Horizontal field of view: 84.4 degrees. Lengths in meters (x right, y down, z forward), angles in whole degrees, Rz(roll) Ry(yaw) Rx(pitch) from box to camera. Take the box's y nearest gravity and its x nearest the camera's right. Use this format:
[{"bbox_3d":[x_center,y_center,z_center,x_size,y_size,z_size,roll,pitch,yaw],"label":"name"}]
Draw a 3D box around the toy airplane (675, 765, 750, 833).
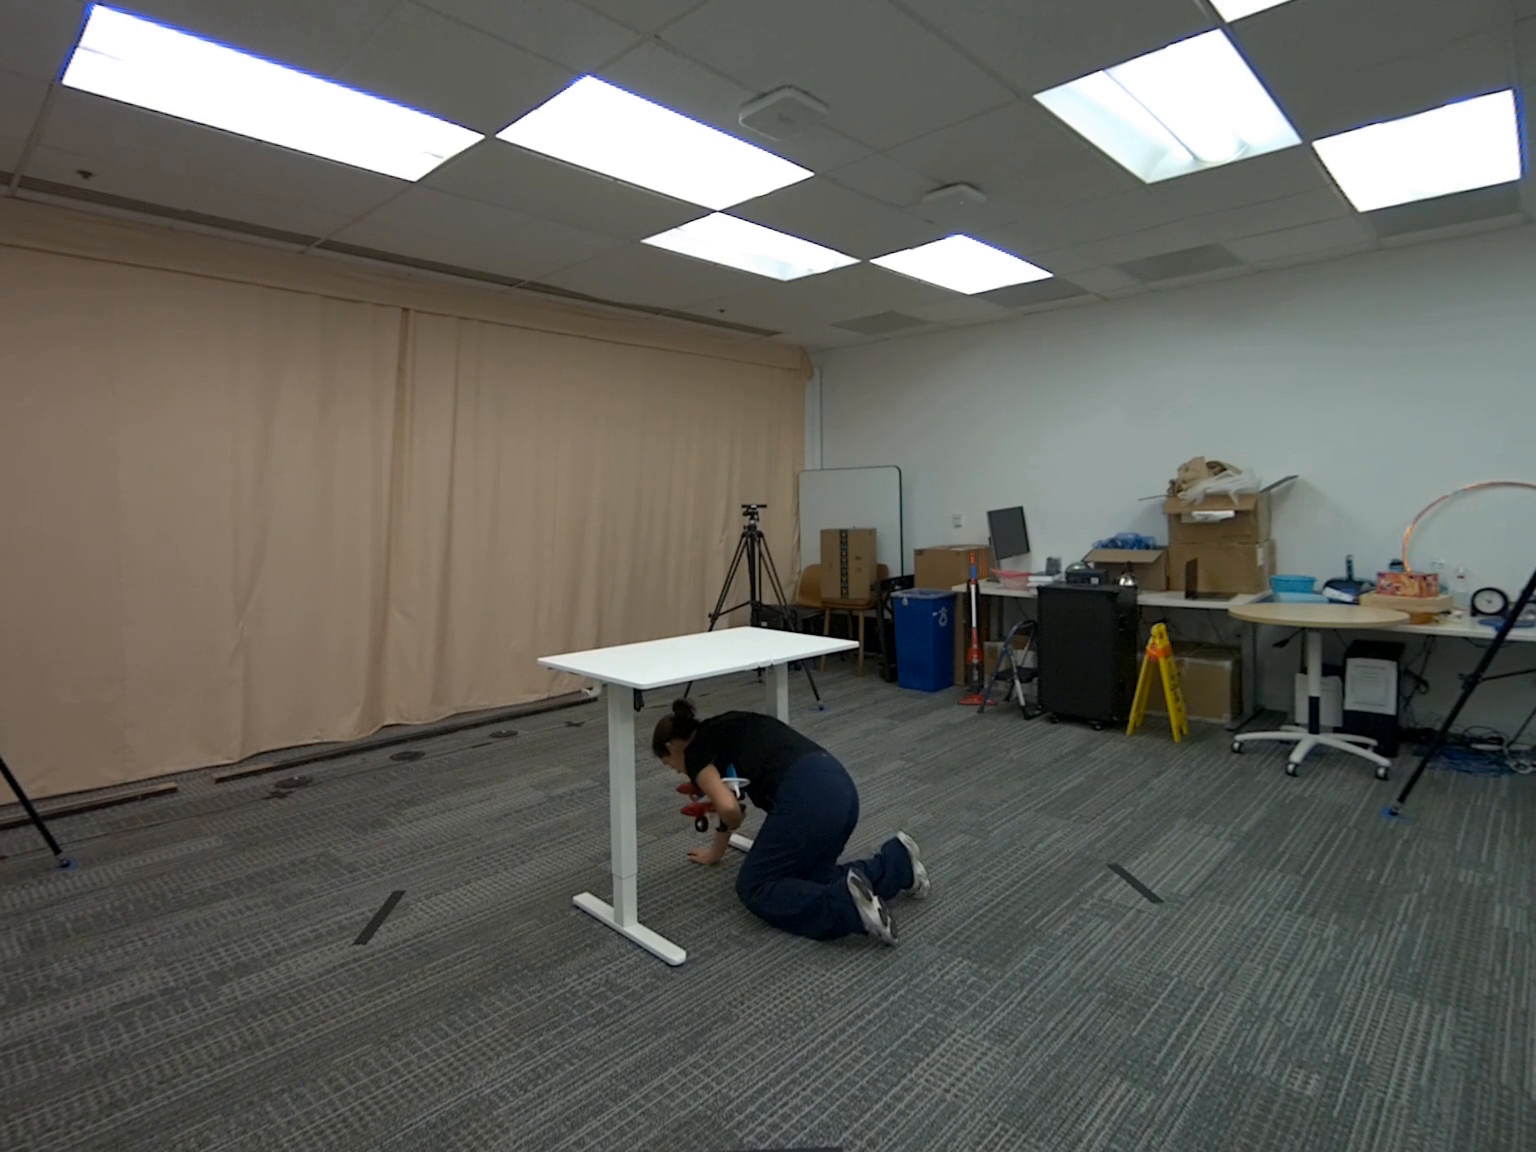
[{"bbox_3d":[-0.150,0.777,2.939,0.260,0.161,0.242,-37,-45,8],"label":"toy airplane"}]
